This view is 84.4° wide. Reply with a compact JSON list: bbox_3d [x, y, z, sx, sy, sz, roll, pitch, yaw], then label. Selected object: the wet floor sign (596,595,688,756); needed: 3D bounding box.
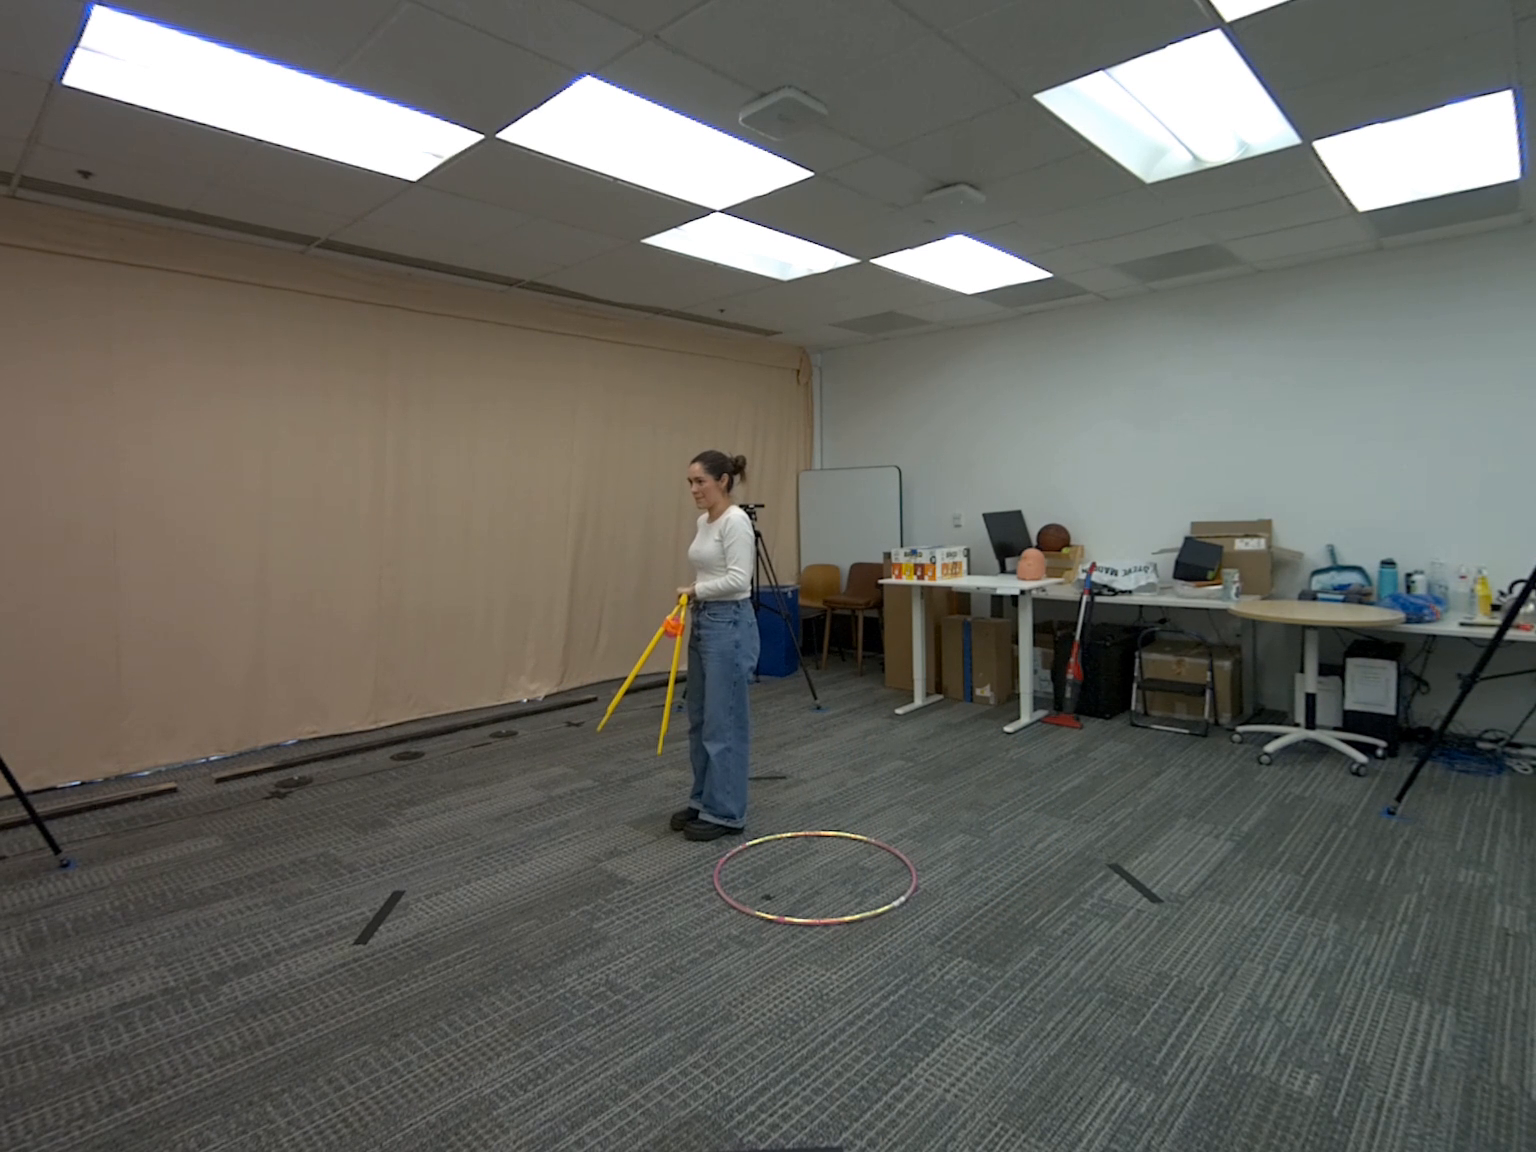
[{"bbox_3d":[-0.455,0.384,3.548,0.290,0.647,0.282,20,-5,-1],"label":"wet floor sign"}]
